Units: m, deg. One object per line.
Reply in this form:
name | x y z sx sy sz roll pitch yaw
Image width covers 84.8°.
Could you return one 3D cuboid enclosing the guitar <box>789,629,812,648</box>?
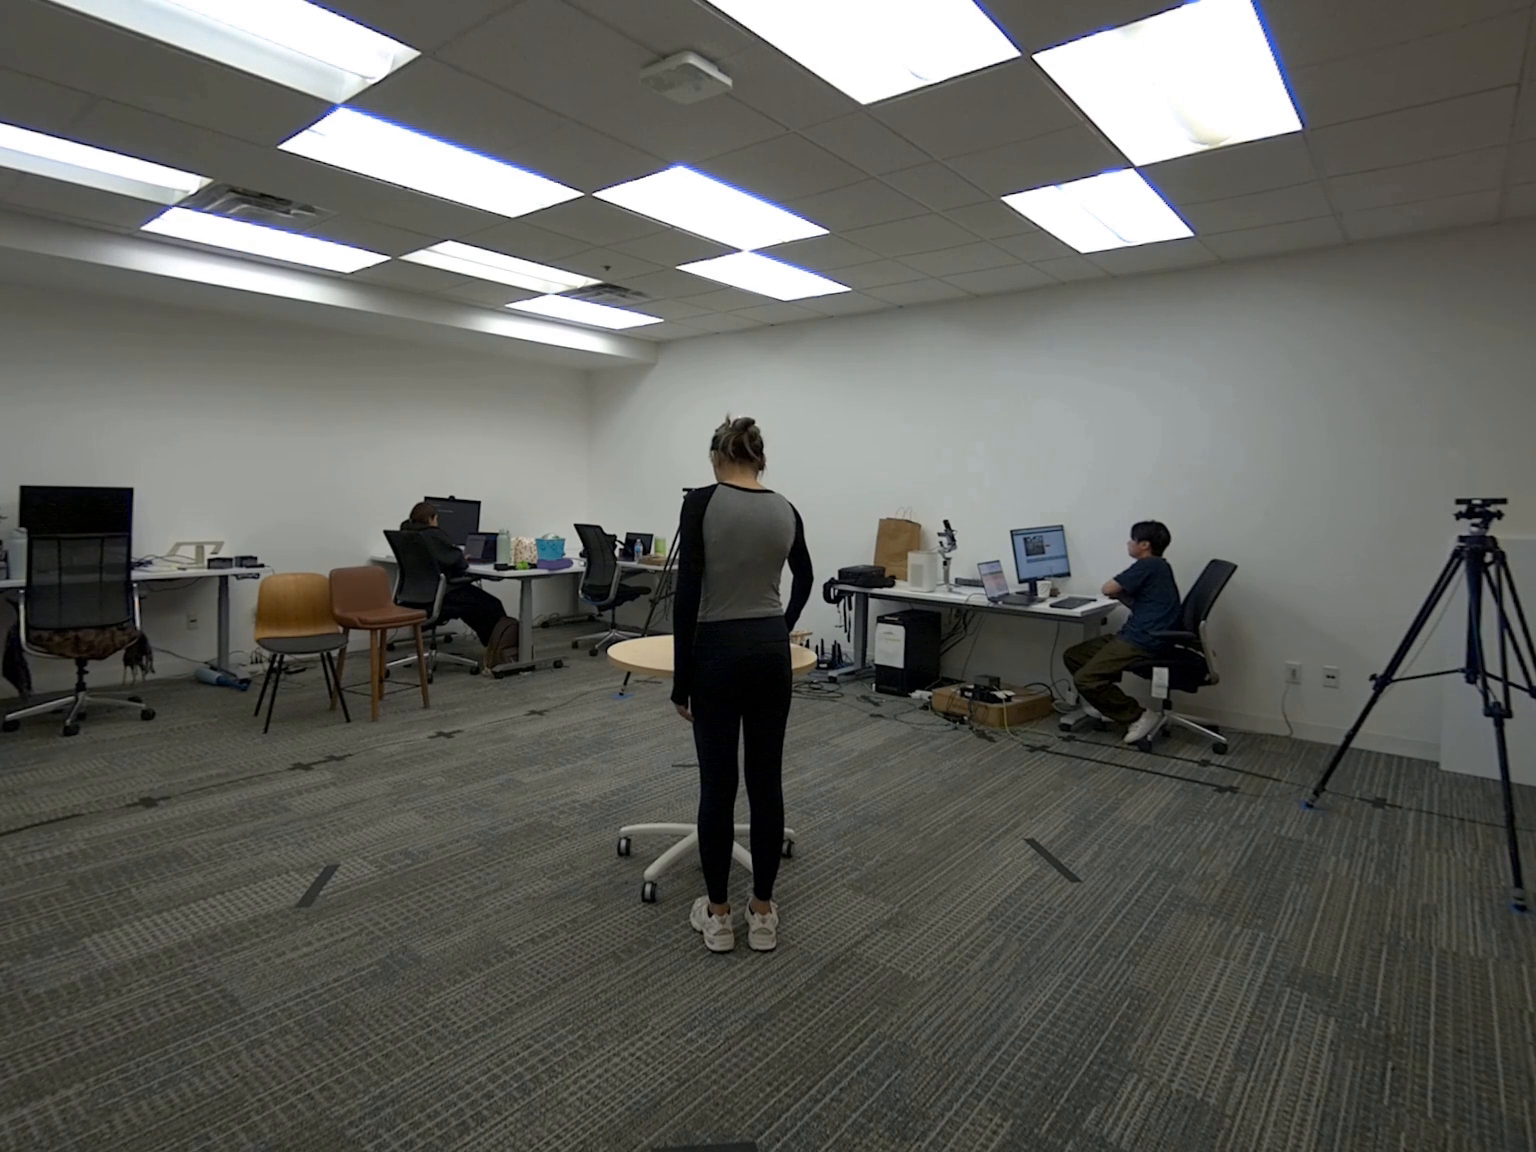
guitar | 0.003 0.255 3.081 0.483 0.070 0.200 -2 7 -36
